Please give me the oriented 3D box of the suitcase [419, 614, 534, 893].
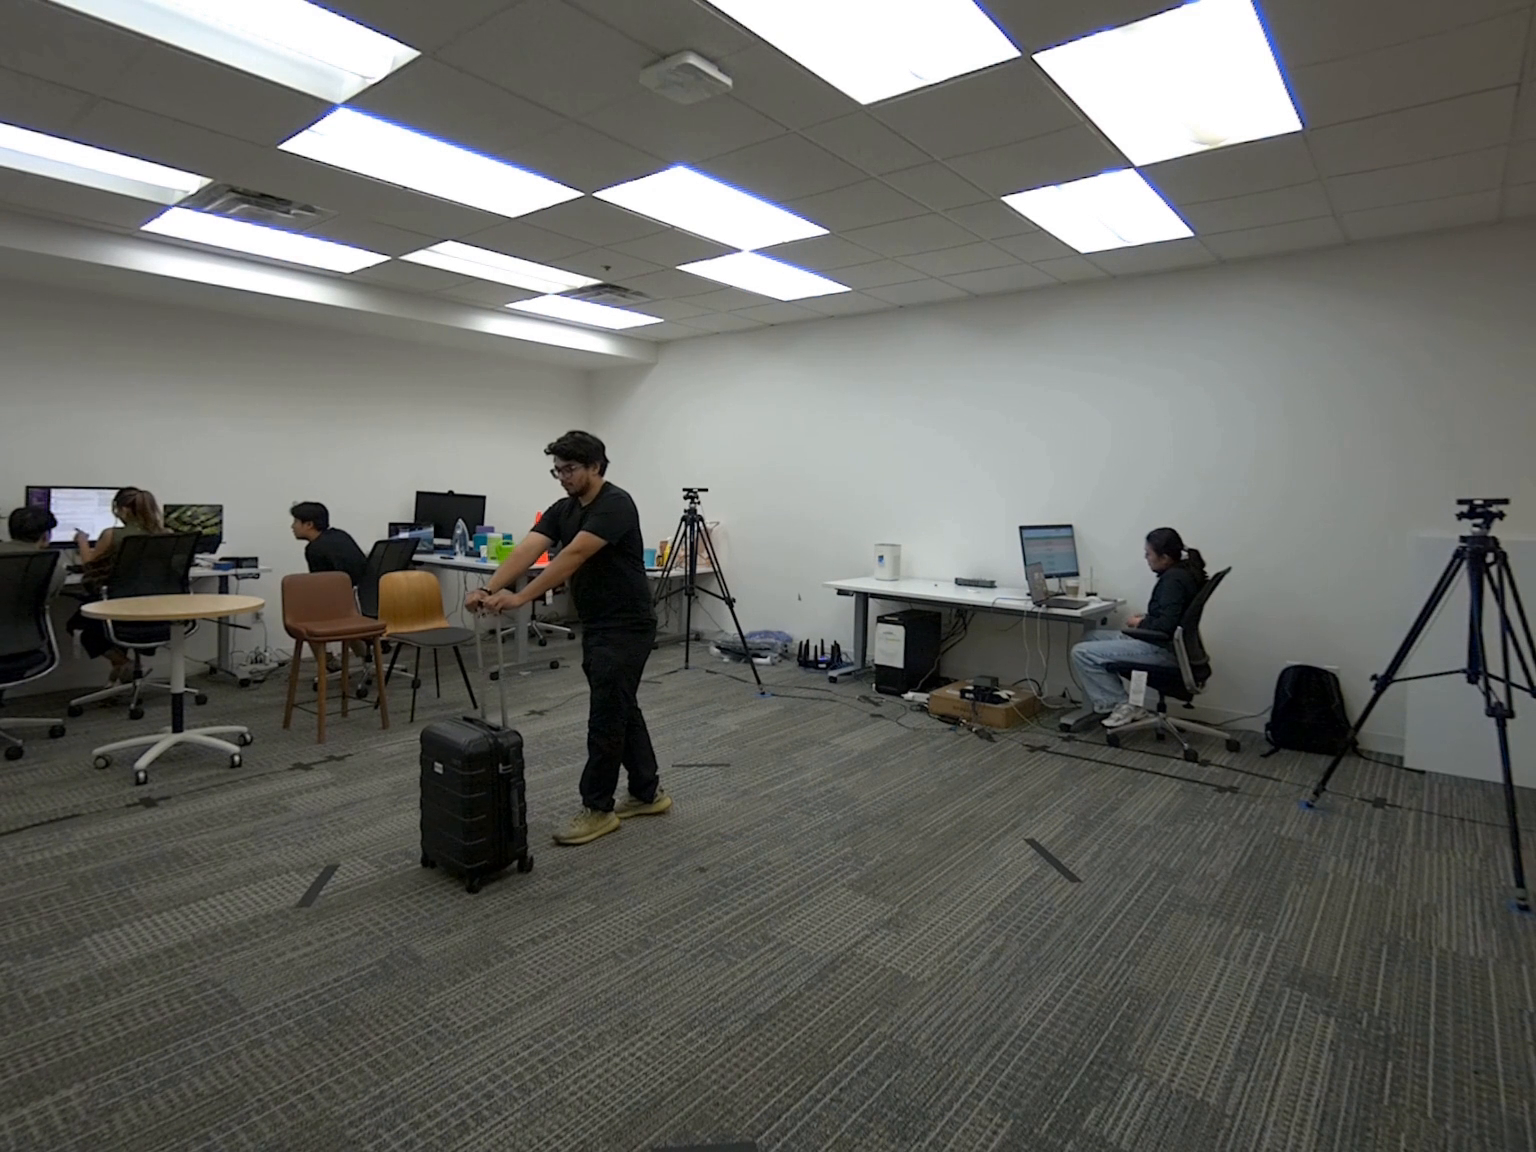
[{"bbox_3d":[-1.076,0.591,3.018,0.397,0.972,0.250,5,9,41],"label":"suitcase"}]
